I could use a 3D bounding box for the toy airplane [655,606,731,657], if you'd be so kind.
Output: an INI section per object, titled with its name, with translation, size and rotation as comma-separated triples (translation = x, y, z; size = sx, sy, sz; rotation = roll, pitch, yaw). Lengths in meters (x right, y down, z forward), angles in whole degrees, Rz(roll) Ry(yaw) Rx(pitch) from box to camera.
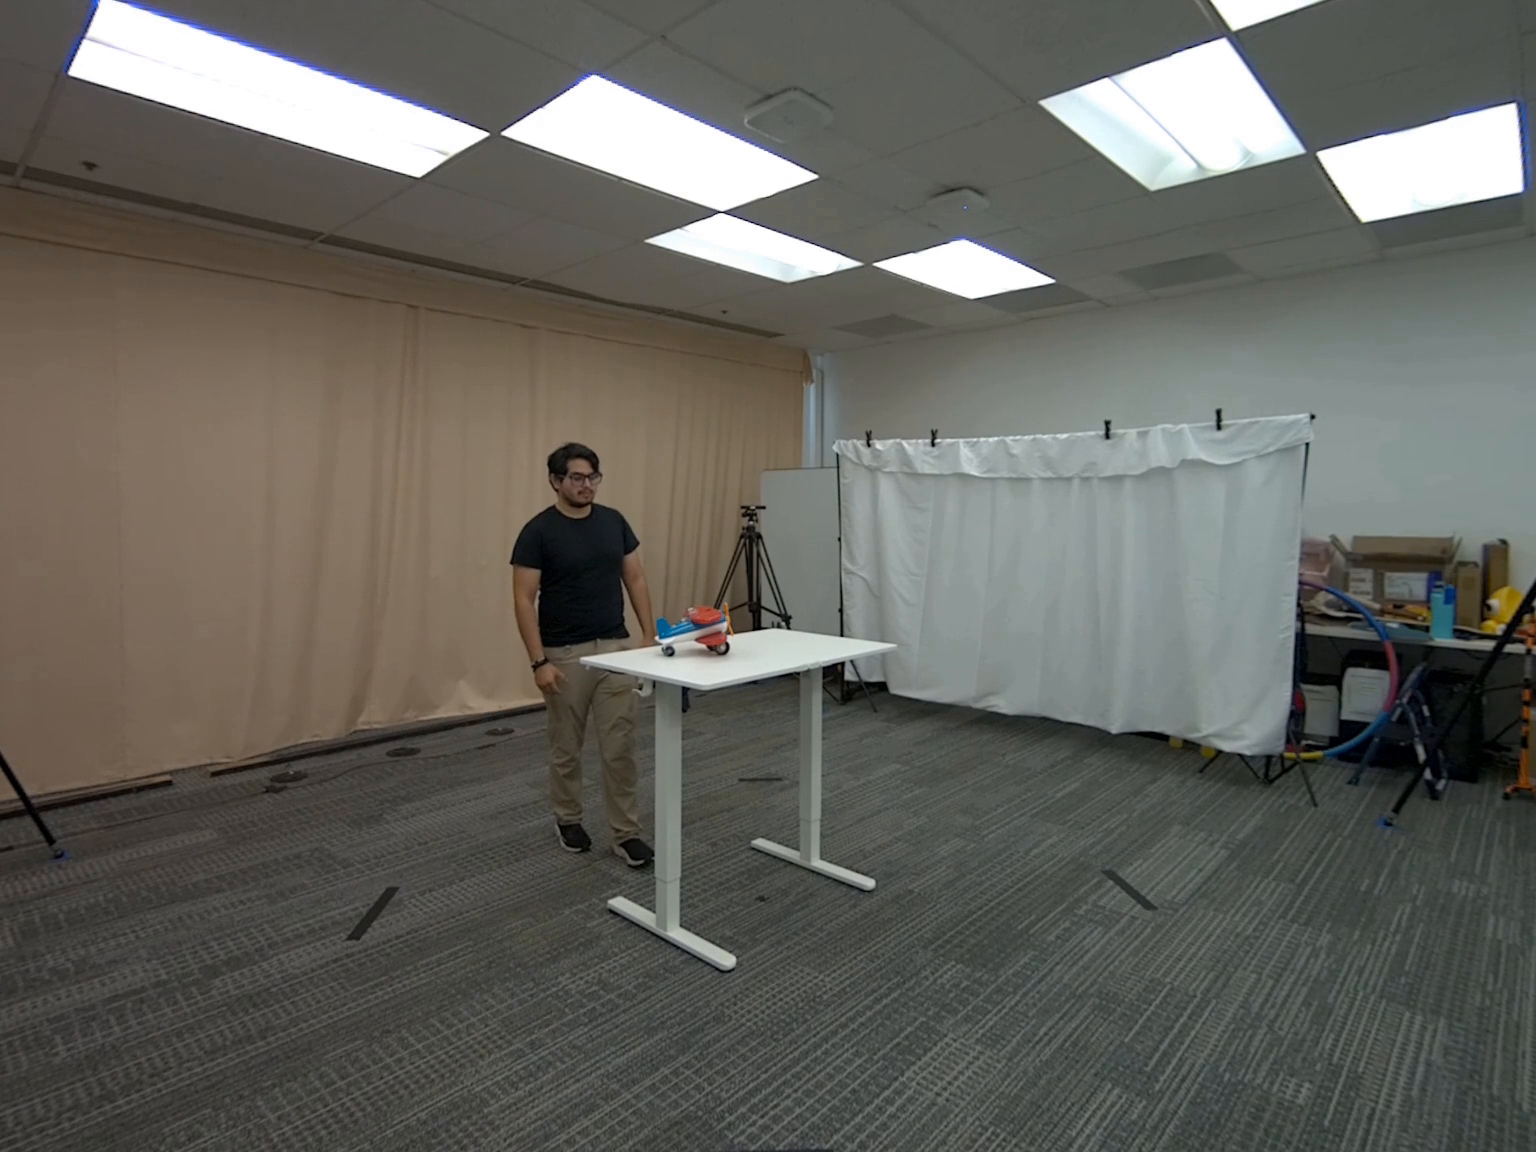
[toy airplane]
translation = -0.240, 0.193, 2.855
size = 0.259, 0.156, 0.251
rotation = 3, 6, 42
